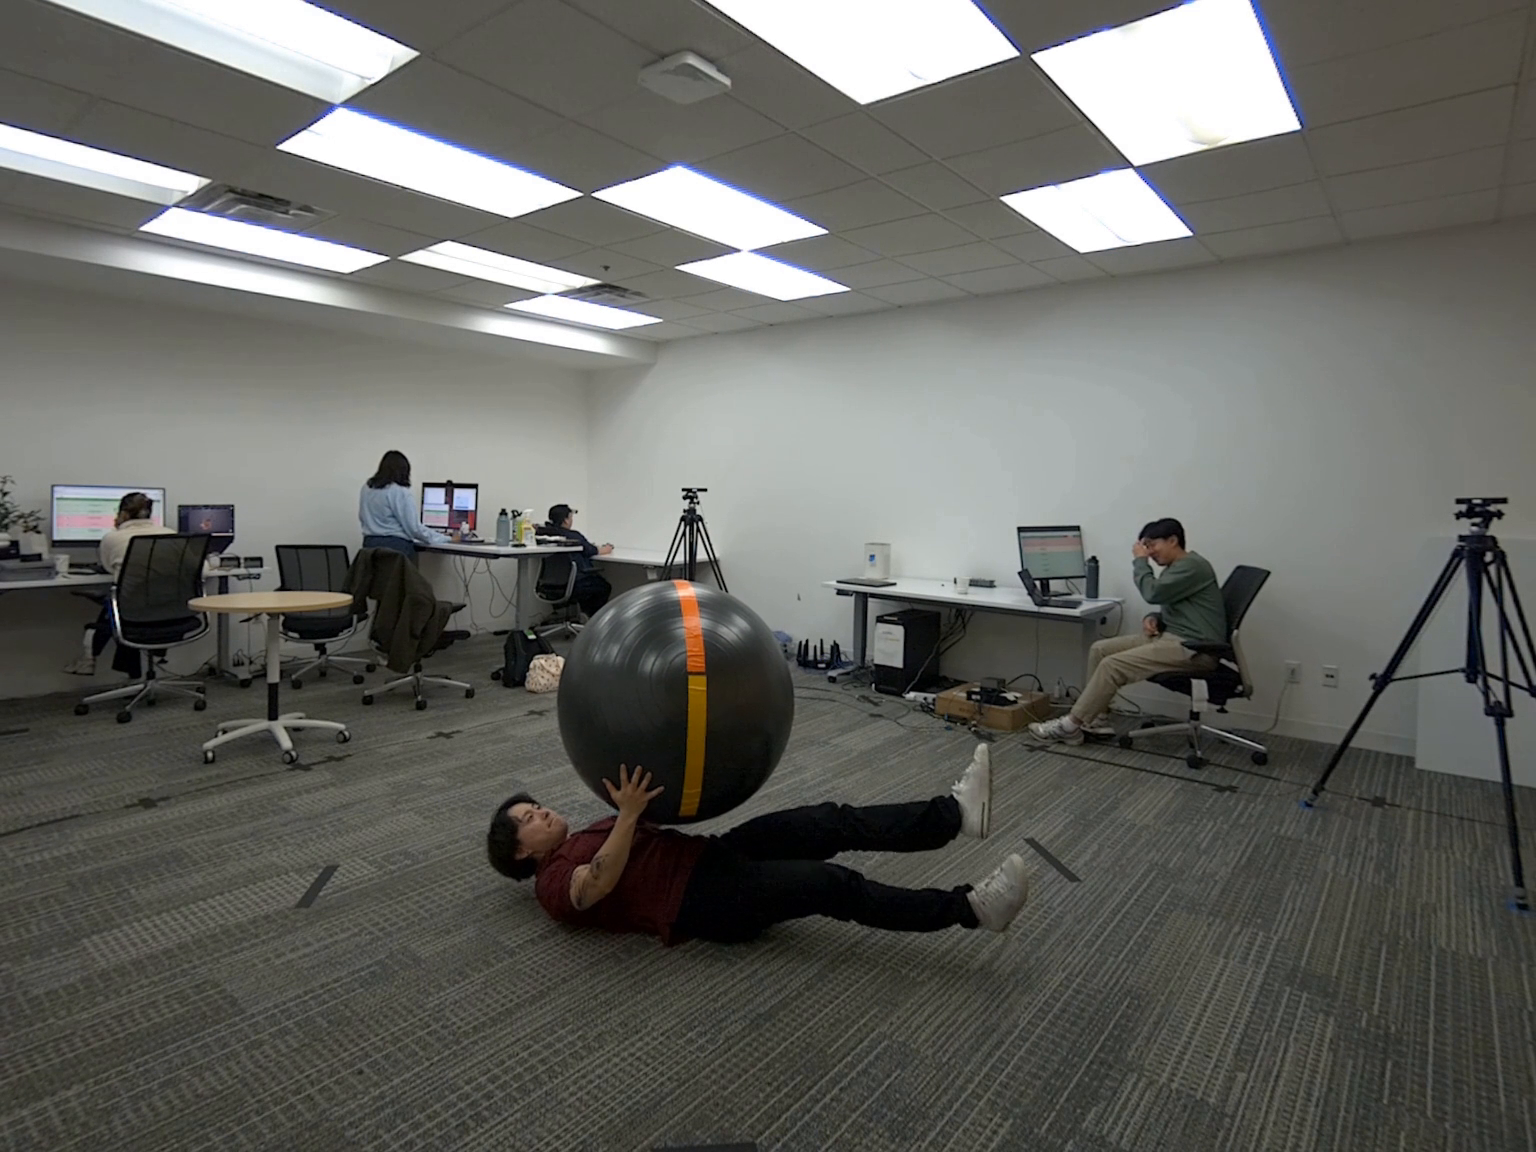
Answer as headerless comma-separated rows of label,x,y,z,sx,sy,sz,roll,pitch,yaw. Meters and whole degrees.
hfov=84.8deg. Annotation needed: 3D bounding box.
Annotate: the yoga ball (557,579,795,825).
yoga ball,-0.300,0.398,2.726,0.757,0.755,0.762,1,4,-2
